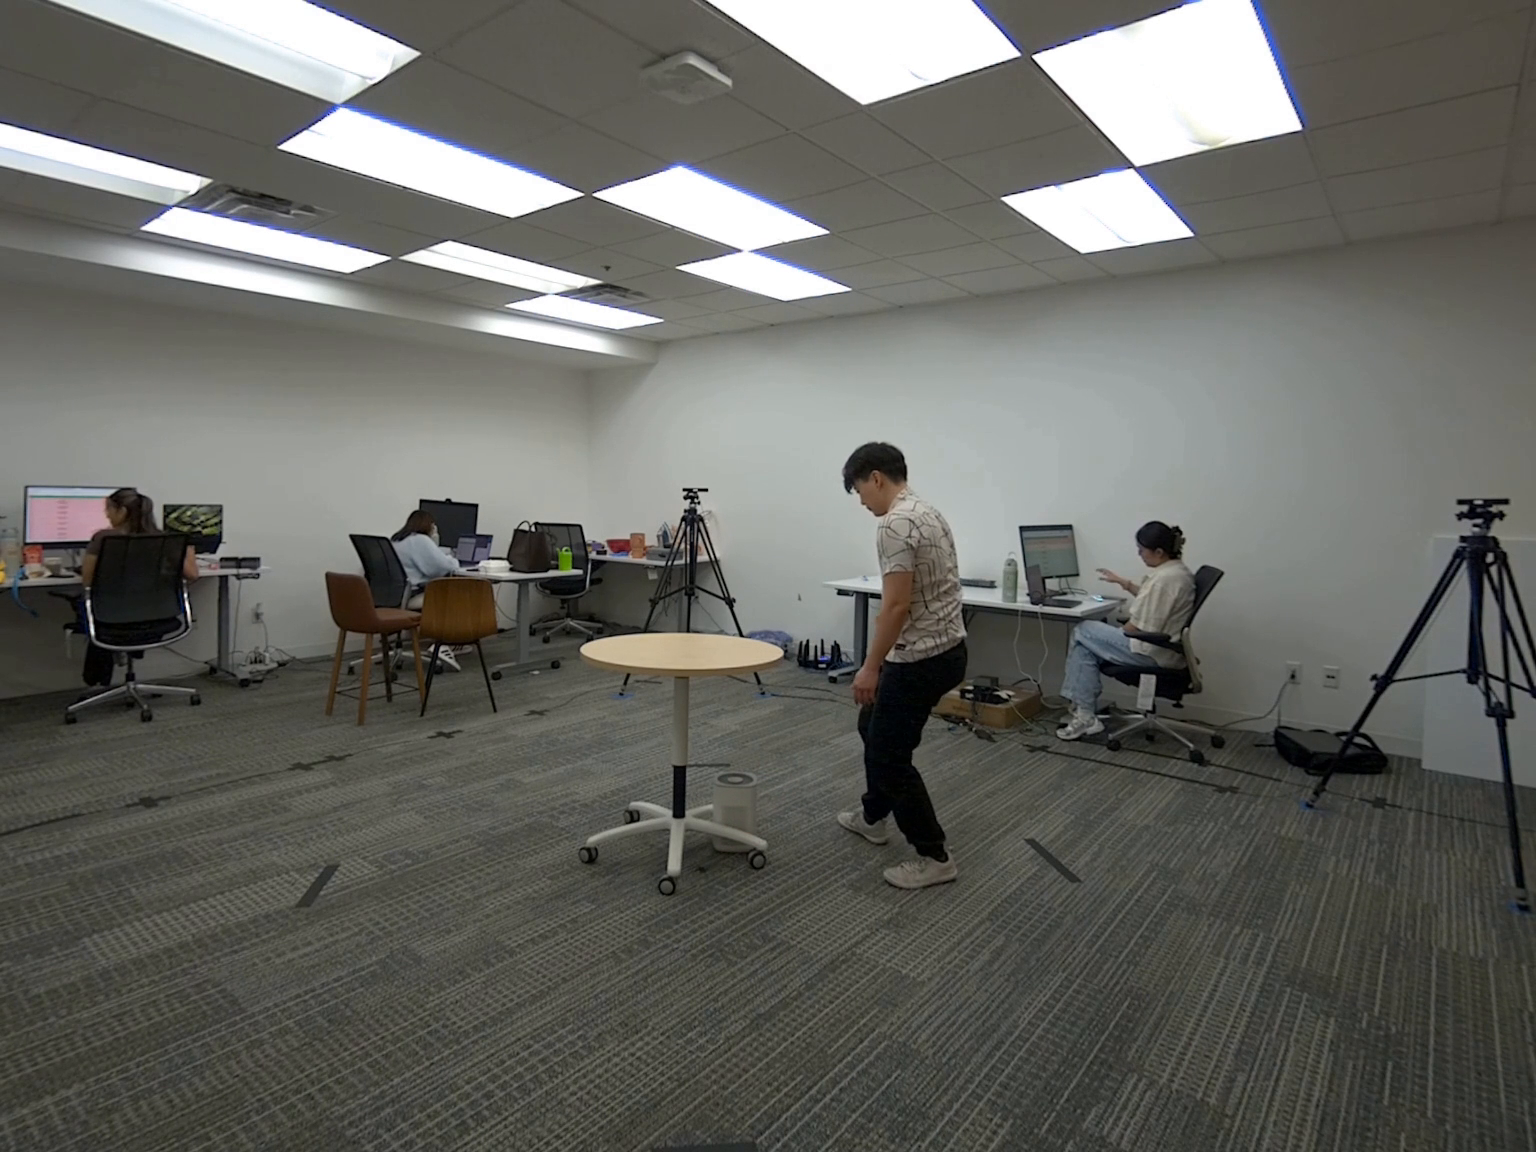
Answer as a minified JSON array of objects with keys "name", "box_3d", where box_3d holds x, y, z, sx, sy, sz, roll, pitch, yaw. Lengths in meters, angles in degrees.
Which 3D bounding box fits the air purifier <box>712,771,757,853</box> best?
[{"name":"air purifier","box_3d":[-0.140,0.917,3.318,0.171,0.264,0.172,0,4,-4]}]
